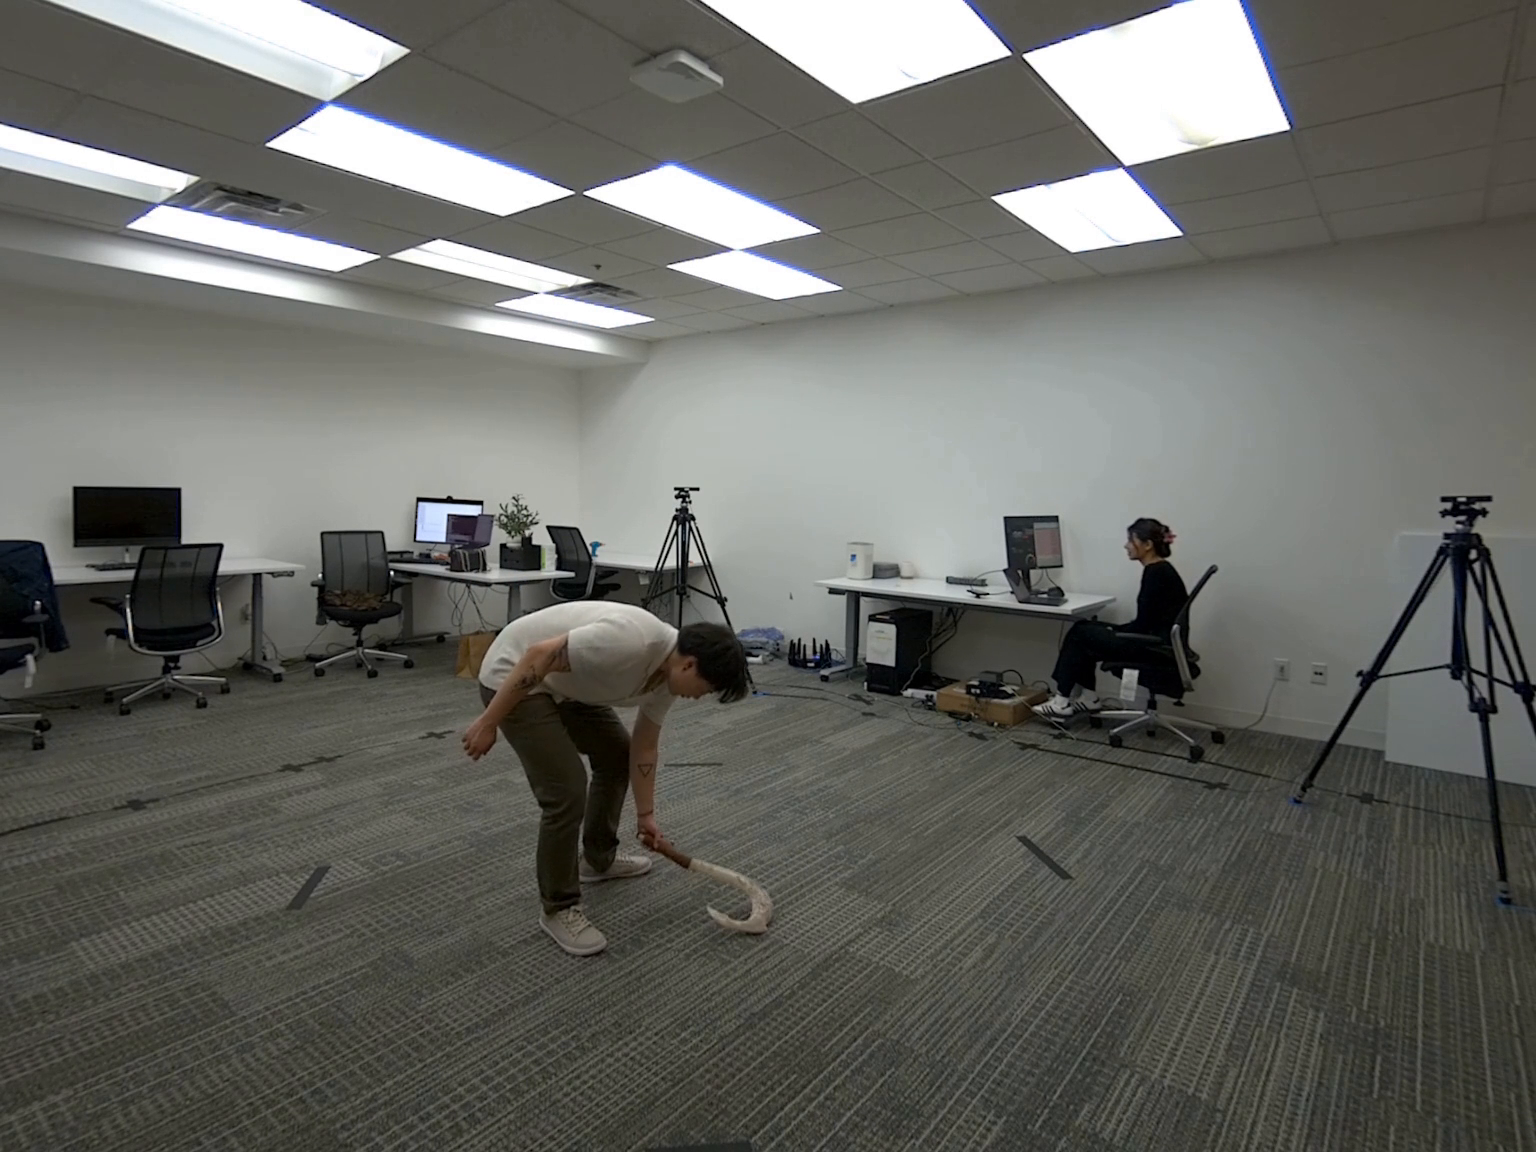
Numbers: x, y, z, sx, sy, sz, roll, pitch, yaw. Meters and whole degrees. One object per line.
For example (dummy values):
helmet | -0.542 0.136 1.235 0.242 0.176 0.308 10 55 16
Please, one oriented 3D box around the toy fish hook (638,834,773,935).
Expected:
toy fish hook | -0.226 0.971 2.740 0.513 0.048 0.224 24 19 9
